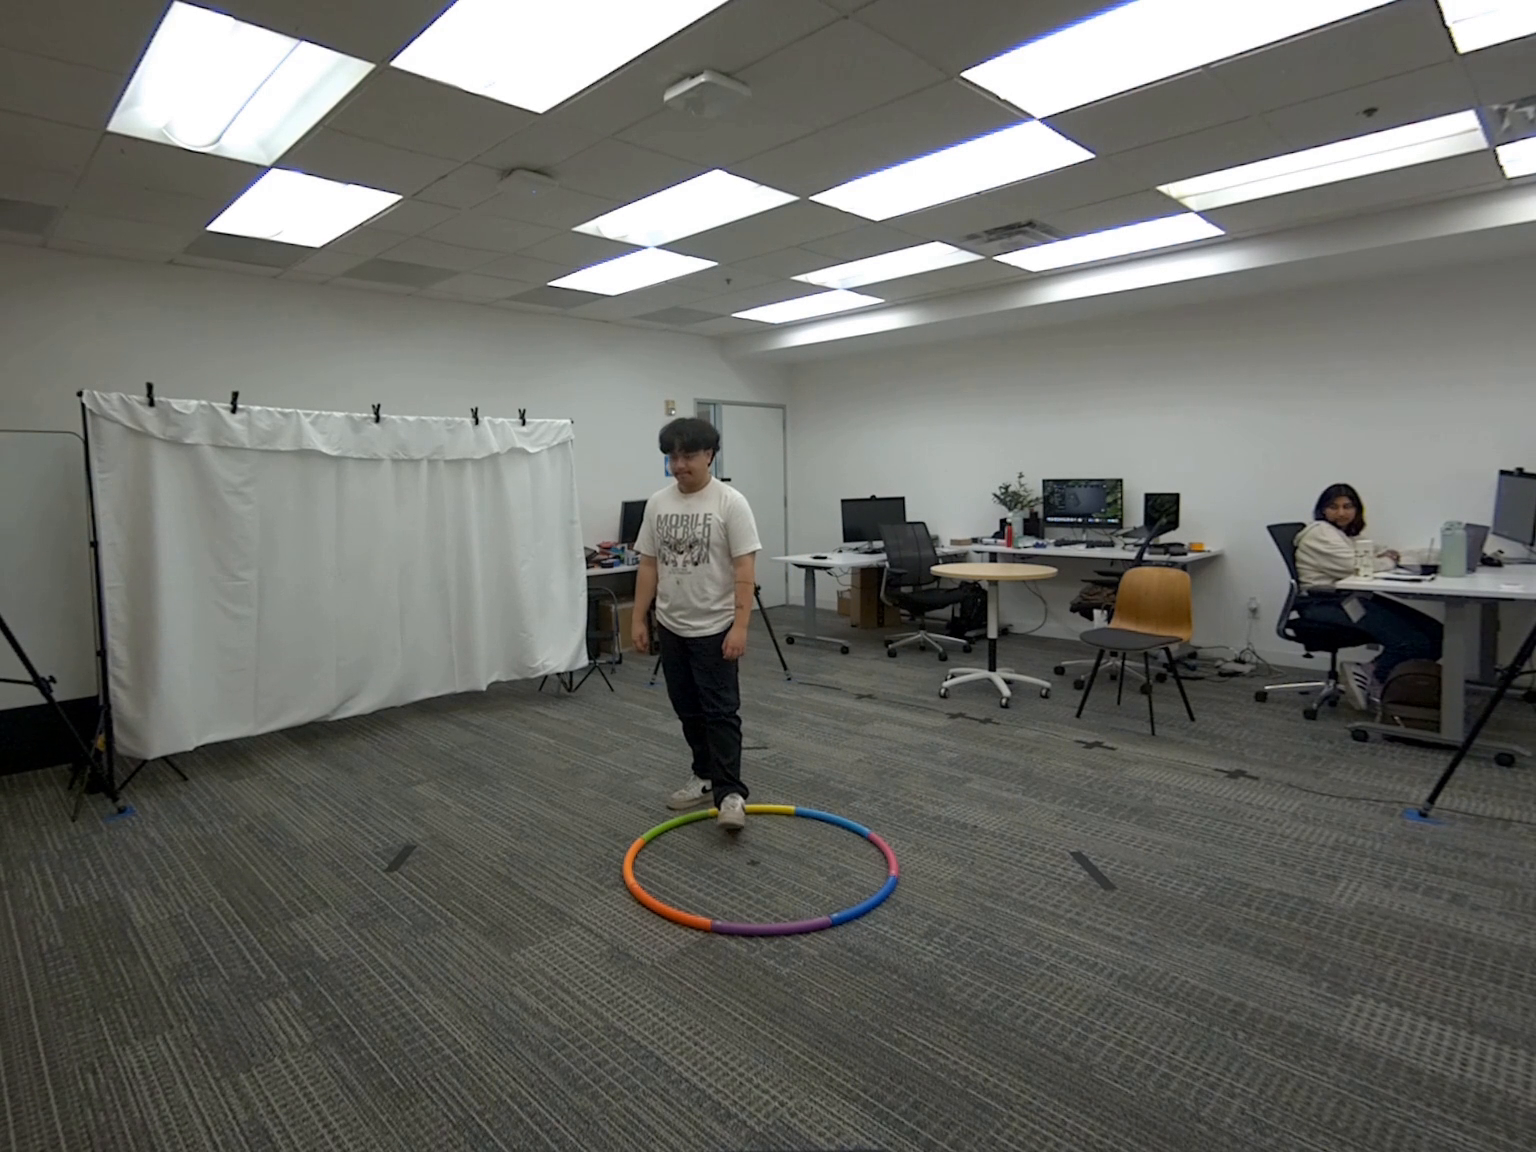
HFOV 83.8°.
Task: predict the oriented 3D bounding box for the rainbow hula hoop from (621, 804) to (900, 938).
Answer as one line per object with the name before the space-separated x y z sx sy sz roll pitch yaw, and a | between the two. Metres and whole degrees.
rainbow hula hoop | -0.028 1.021 3.090 0.985 0.051 0.991 -2 7 -2
